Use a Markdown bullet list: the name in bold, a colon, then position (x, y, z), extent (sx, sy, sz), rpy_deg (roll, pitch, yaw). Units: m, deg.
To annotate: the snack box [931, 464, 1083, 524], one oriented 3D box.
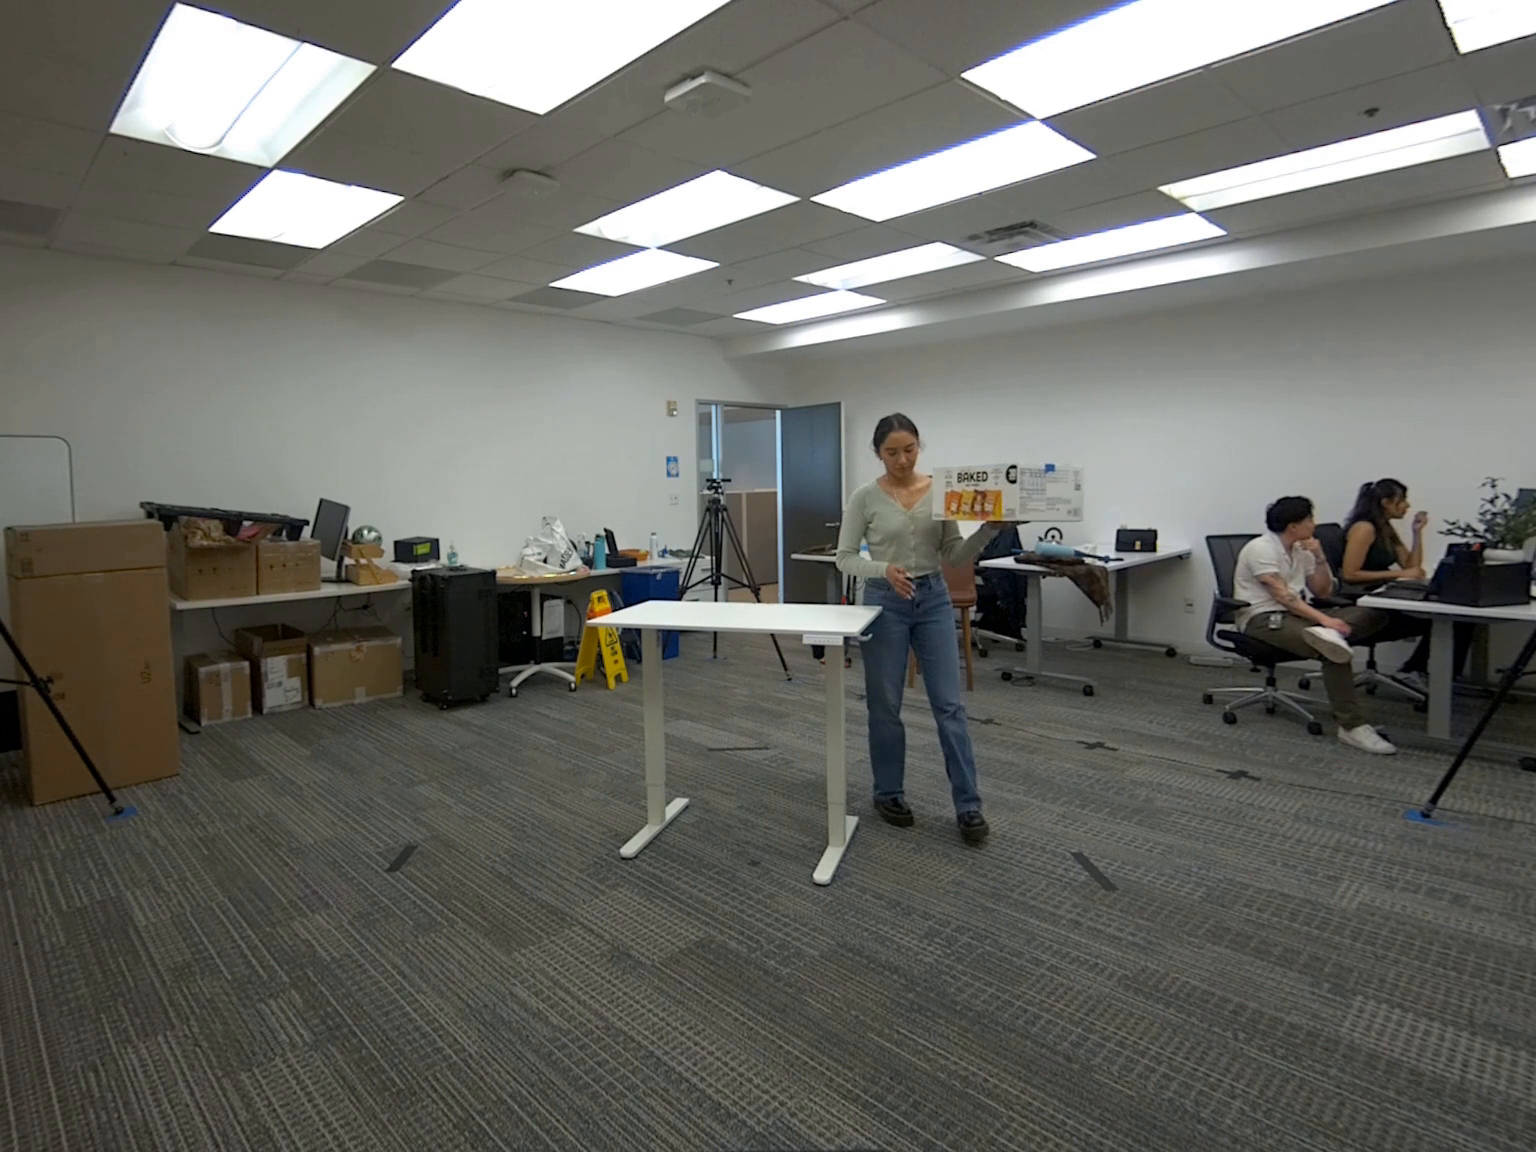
- **snack box**: position (0.878, -0.301, 3.149), extent (0.332, 0.205, 0.416), rpy_deg (-2, 4, -30)
